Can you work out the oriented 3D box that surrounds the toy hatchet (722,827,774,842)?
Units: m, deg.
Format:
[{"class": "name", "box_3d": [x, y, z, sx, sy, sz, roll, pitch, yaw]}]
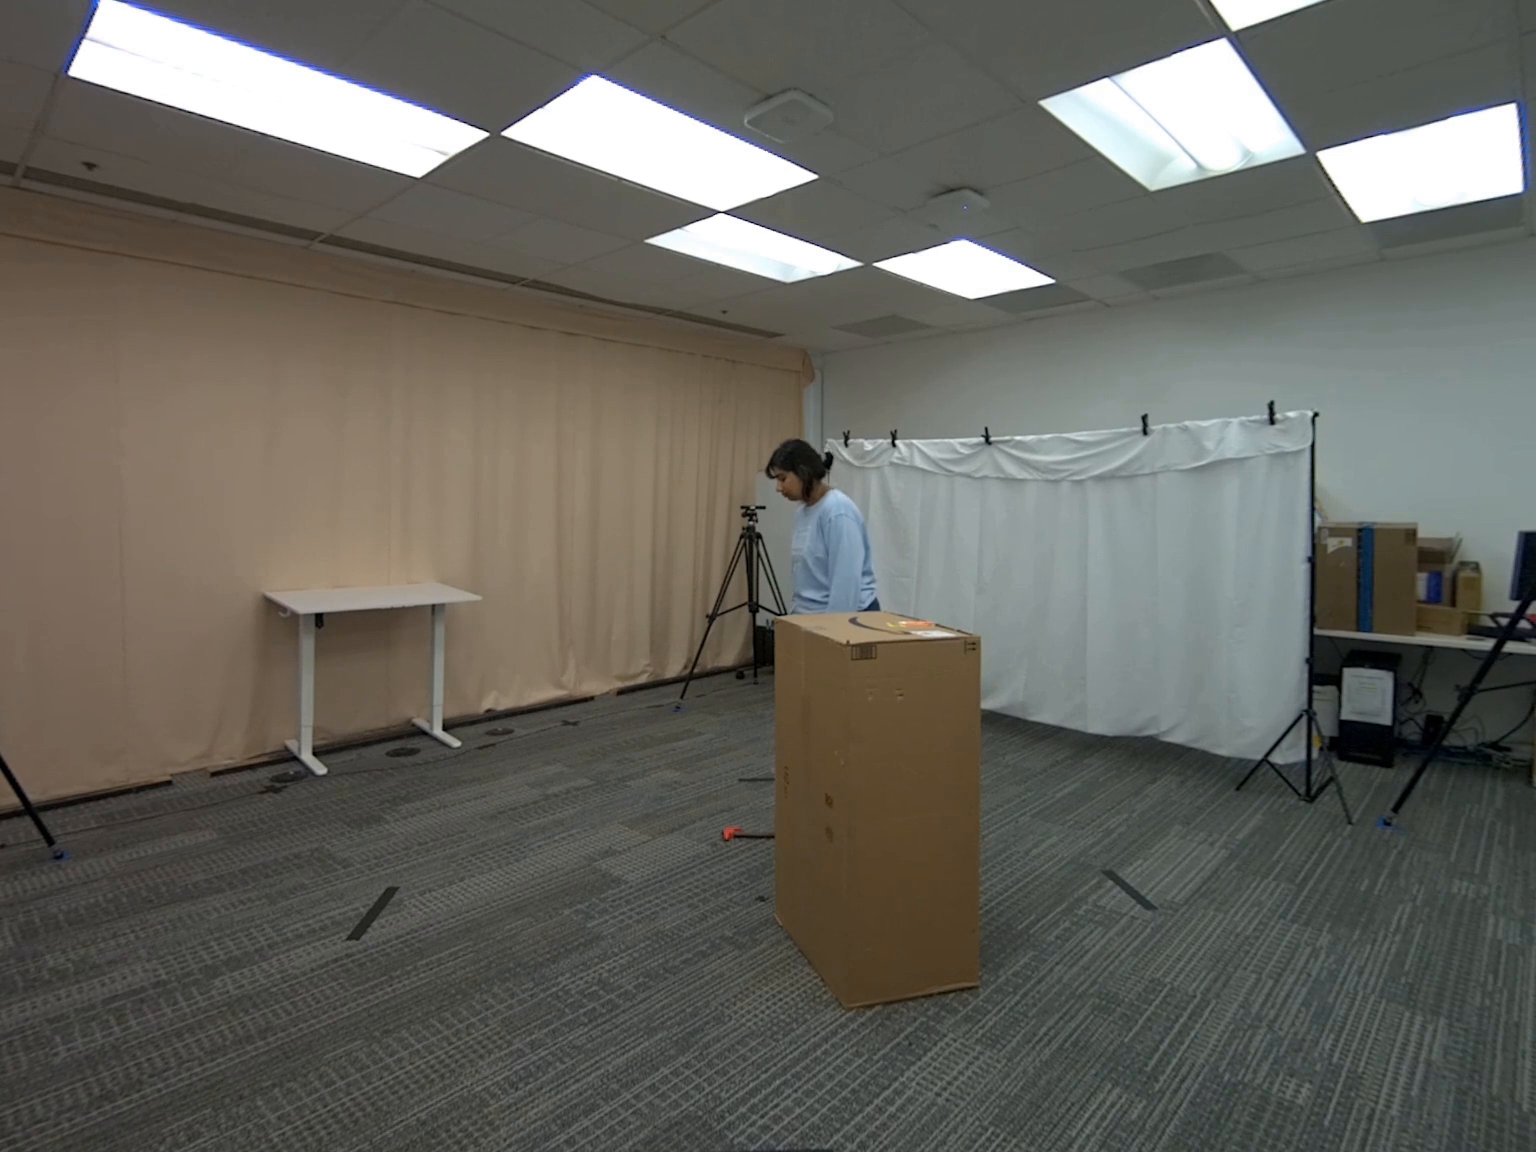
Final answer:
[{"class": "toy hatchet", "box_3d": [-0.063, 1.086, 3.571, 0.266, 0.029, 0.133, 1, 2, -12]}]
